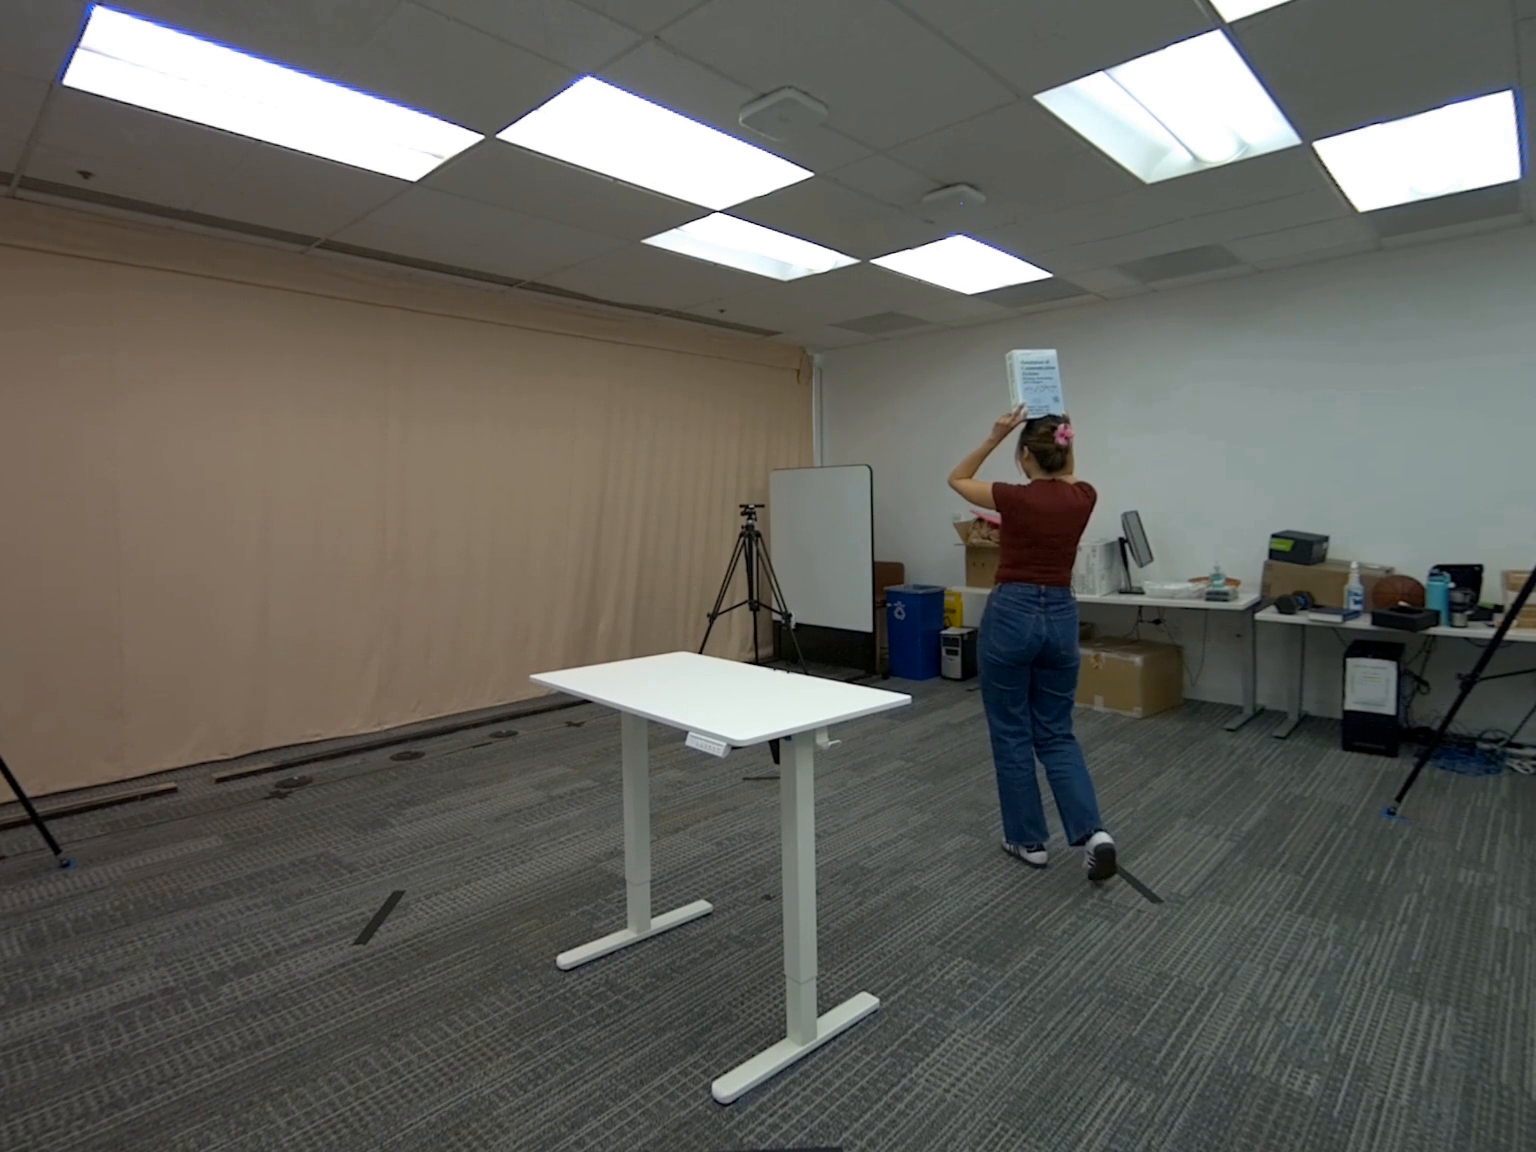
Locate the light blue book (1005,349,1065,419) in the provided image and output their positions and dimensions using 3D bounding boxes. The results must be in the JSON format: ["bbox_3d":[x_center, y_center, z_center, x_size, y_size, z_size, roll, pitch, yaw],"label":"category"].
[{"bbox_3d":[1.019,-0.717,3.165,0.188,0.262,0.059,-5,-6,-15],"label":"light blue book"}]
